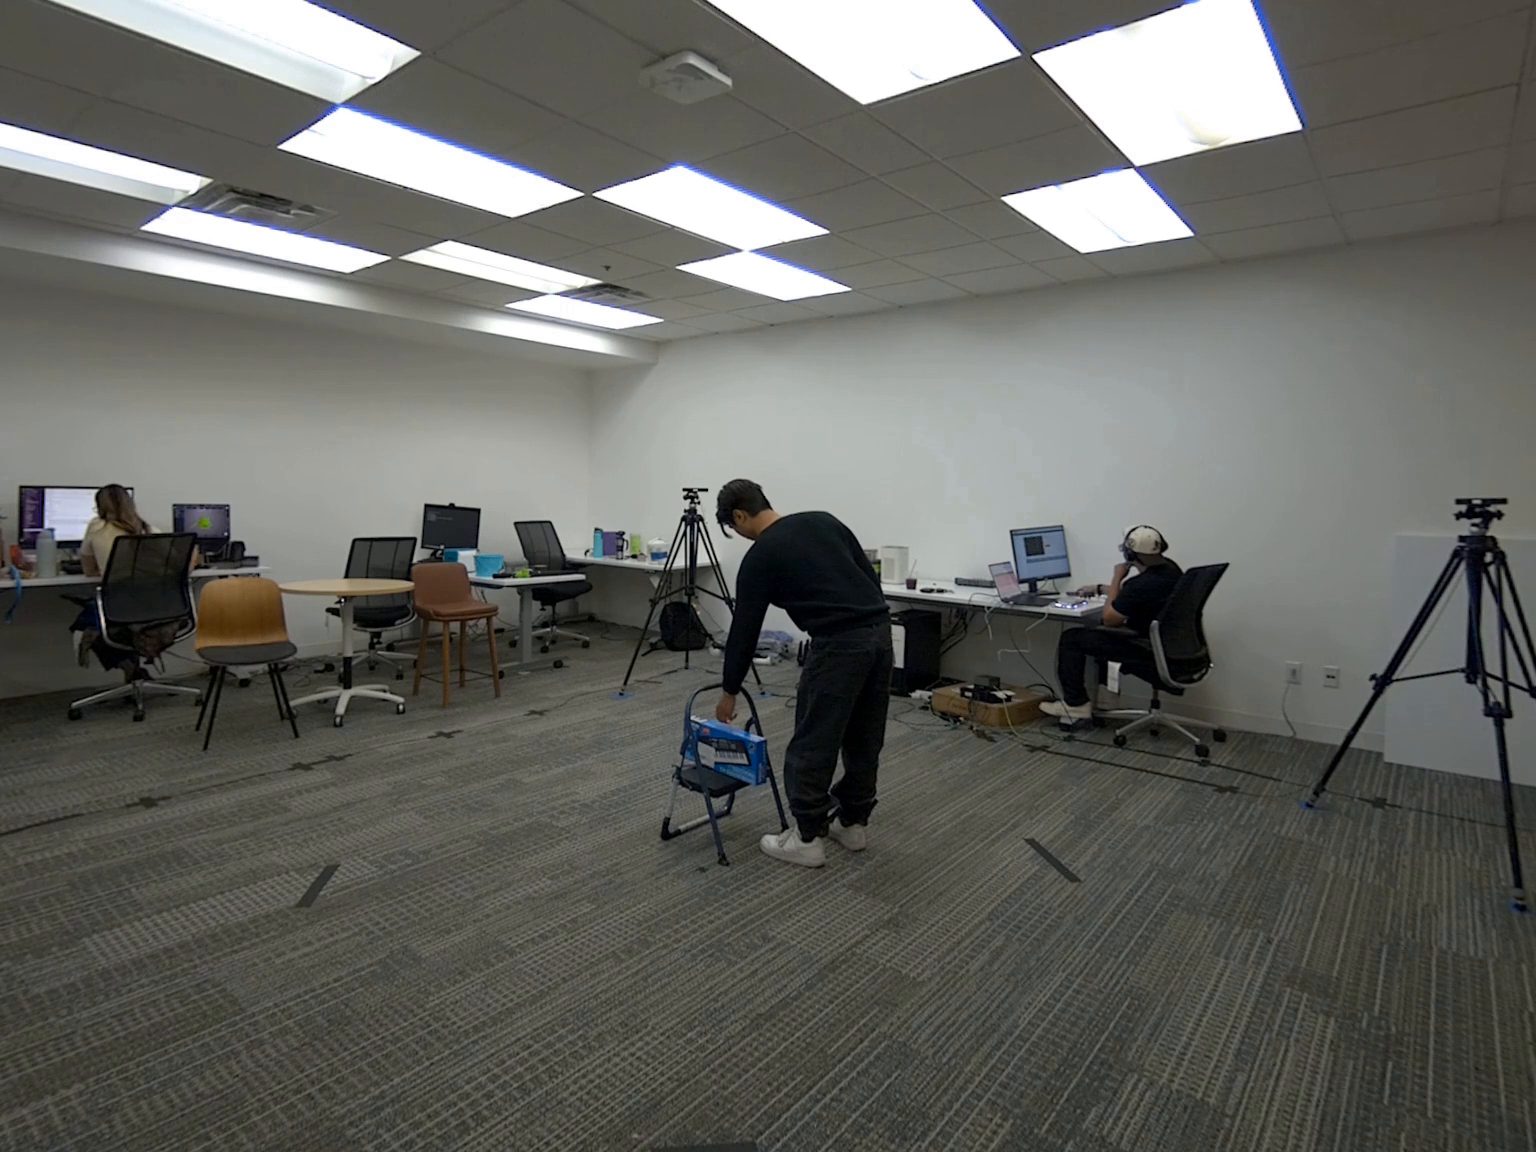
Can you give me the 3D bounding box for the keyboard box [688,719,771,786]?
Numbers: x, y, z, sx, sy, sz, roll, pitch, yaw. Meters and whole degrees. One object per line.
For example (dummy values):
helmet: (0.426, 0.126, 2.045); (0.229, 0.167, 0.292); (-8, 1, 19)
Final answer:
keyboard box: (-0.194, 0.692, 3.410); (0.057, 0.175, 0.452); (0, 6, -44)
